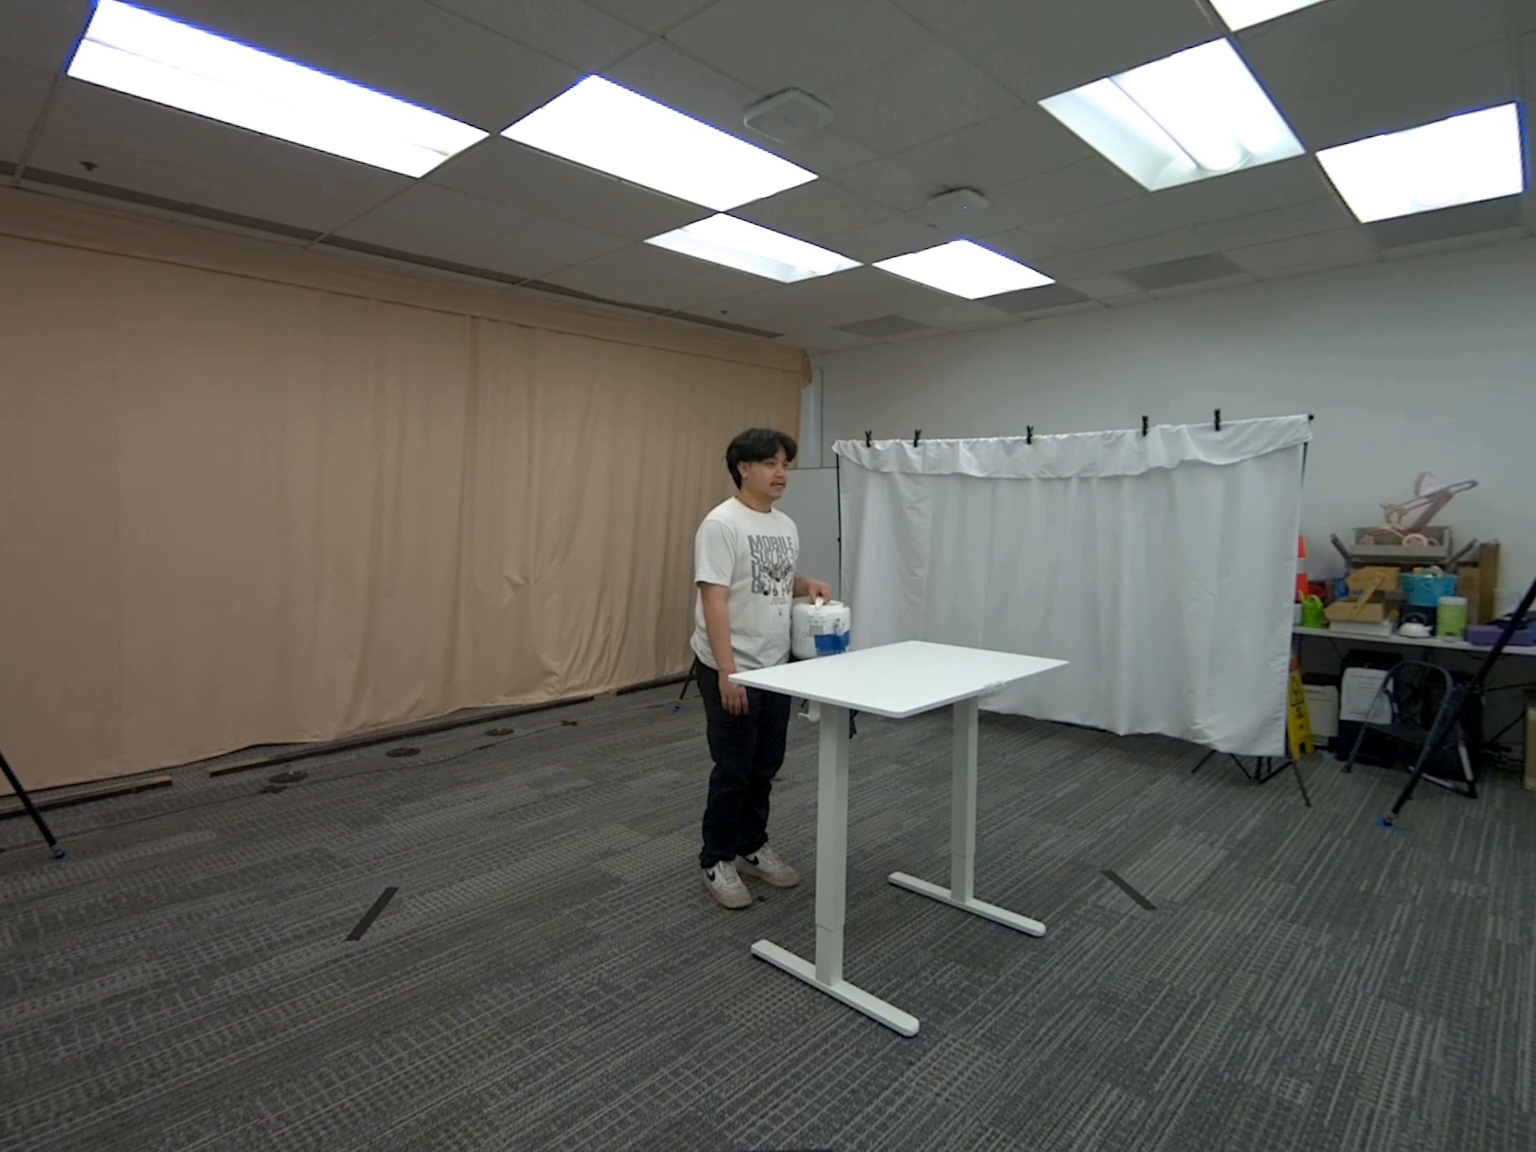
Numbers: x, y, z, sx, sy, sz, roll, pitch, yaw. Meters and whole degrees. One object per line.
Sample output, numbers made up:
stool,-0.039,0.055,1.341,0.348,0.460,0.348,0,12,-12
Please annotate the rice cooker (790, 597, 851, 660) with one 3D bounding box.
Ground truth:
rice cooker,0.193,0.187,3.082,0.221,0.232,0.218,4,6,14
